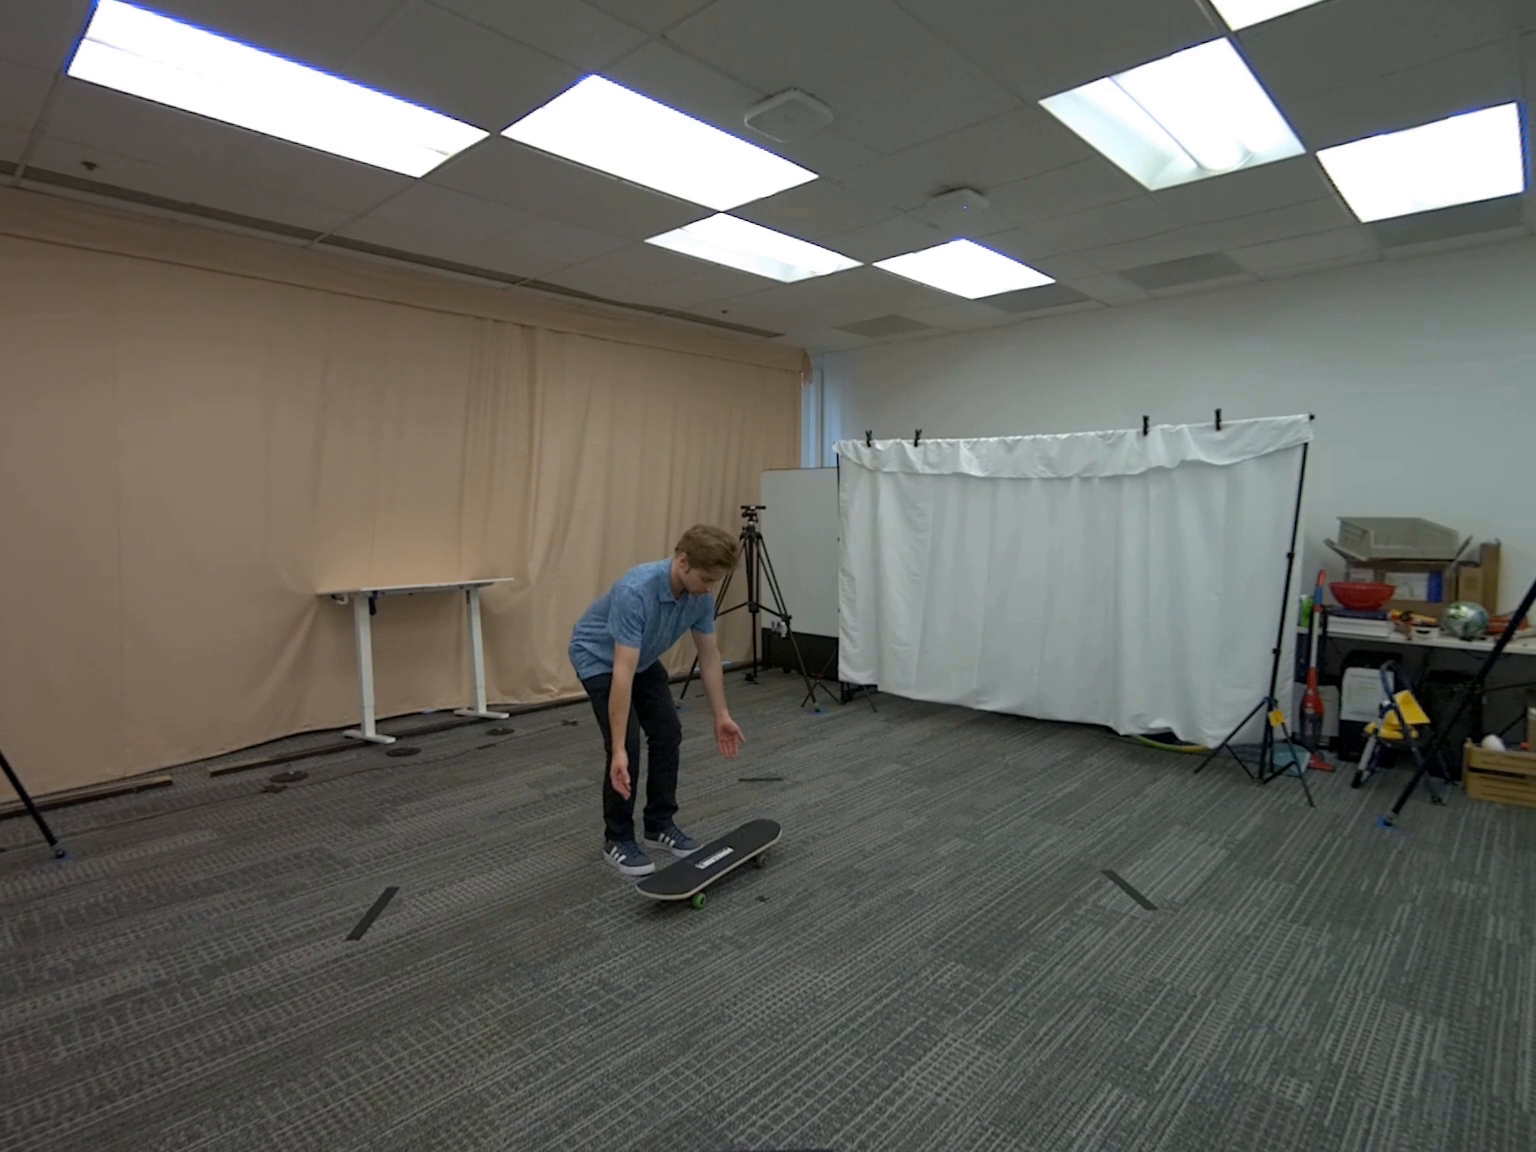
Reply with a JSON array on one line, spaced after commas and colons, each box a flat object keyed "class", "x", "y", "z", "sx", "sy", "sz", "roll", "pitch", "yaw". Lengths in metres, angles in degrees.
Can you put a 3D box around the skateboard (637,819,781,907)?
[{"class": "skateboard", "x": -0.197, "y": 1.077, "z": 3.119, "sx": 0.199, "sy": 0.110, "sz": 0.763, "roll": 2, "pitch": 5, "yaw": 34}]
